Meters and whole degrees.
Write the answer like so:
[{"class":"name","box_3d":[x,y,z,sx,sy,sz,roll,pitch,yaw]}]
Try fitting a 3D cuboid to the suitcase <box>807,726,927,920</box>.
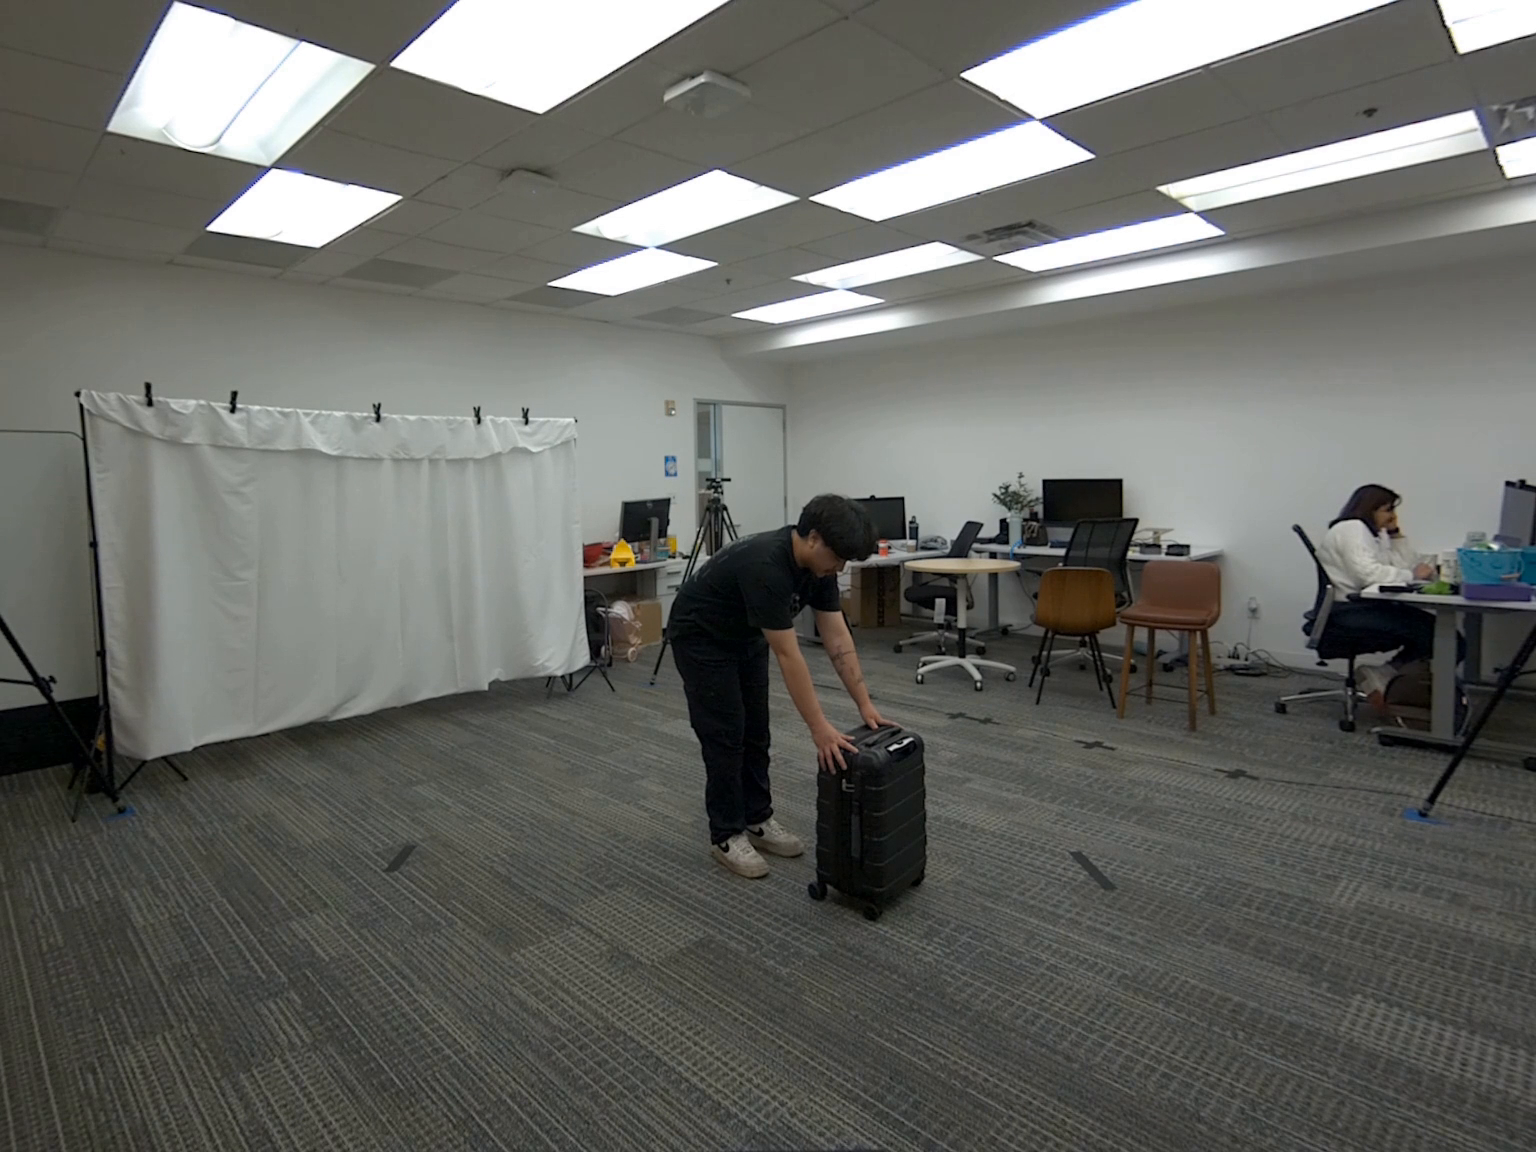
[{"class":"suitcase","box_3d":[0.353,0.794,2.843,0.256,0.547,0.366,4,6,37]}]
